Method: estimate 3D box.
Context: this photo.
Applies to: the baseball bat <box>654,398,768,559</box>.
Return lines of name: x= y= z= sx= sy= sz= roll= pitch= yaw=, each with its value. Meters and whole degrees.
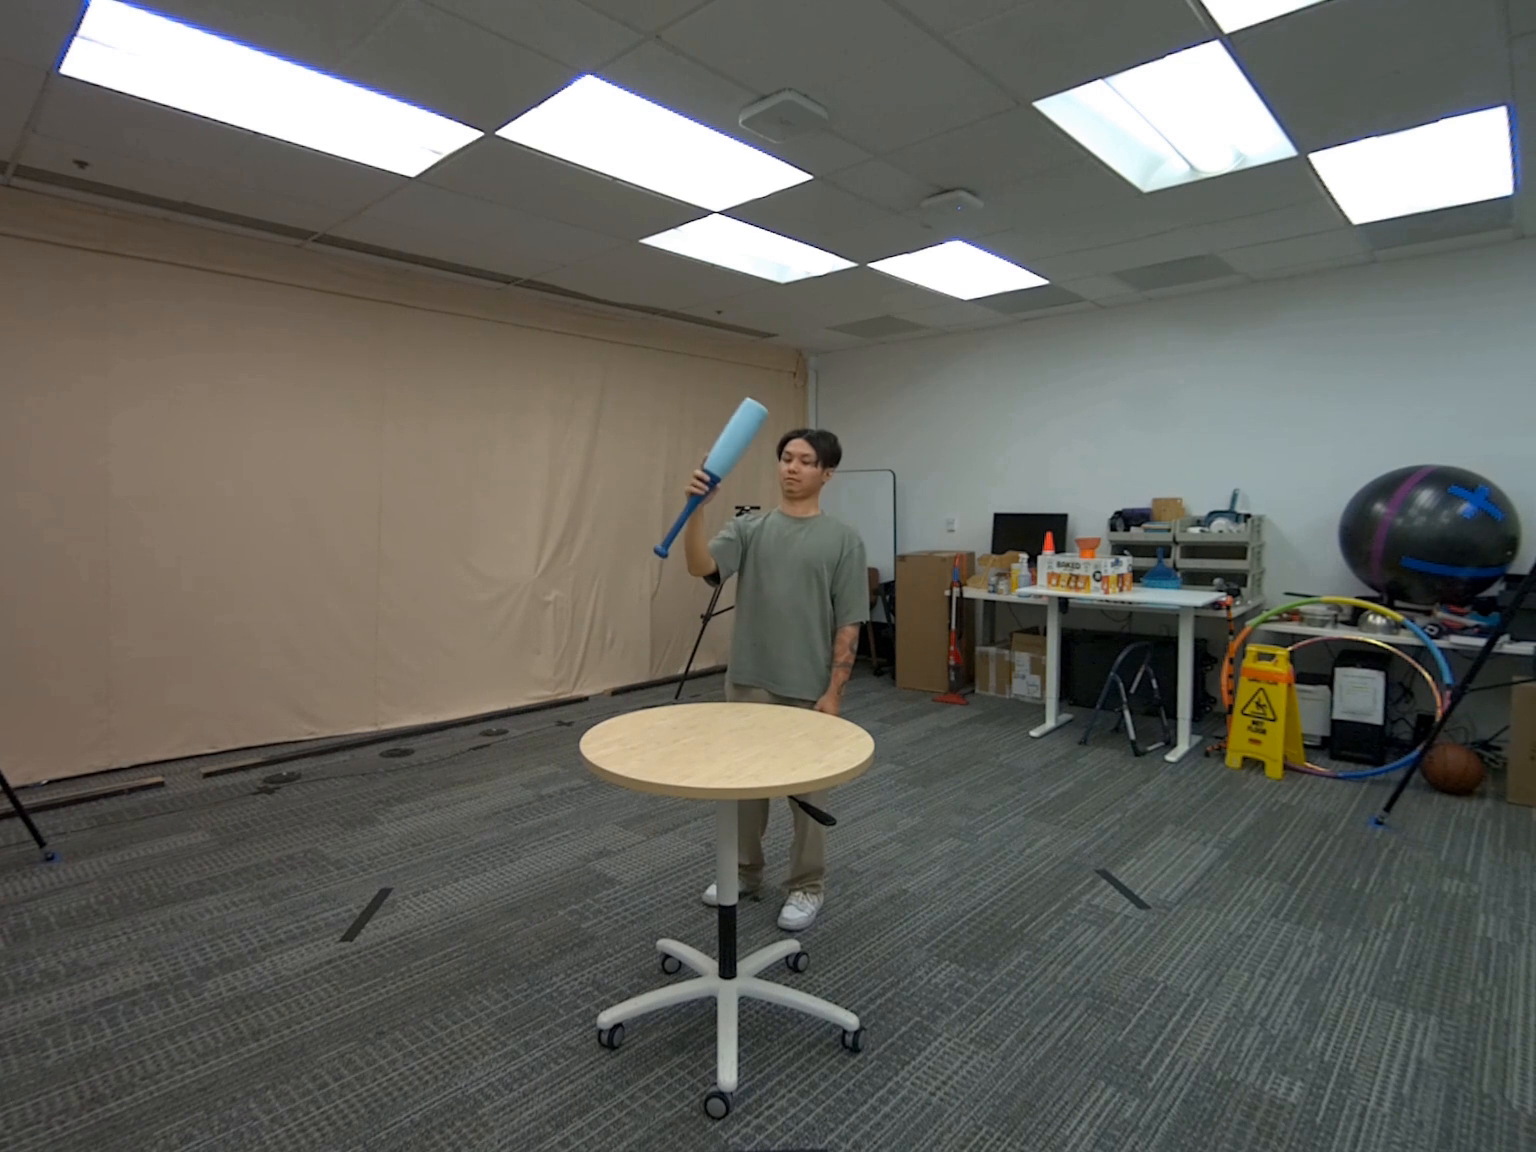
baseball bat: x=-0.179 y=-0.270 z=2.511 sx=0.089 sy=0.543 sz=0.089 roll=33 pitch=1 yaw=-3
